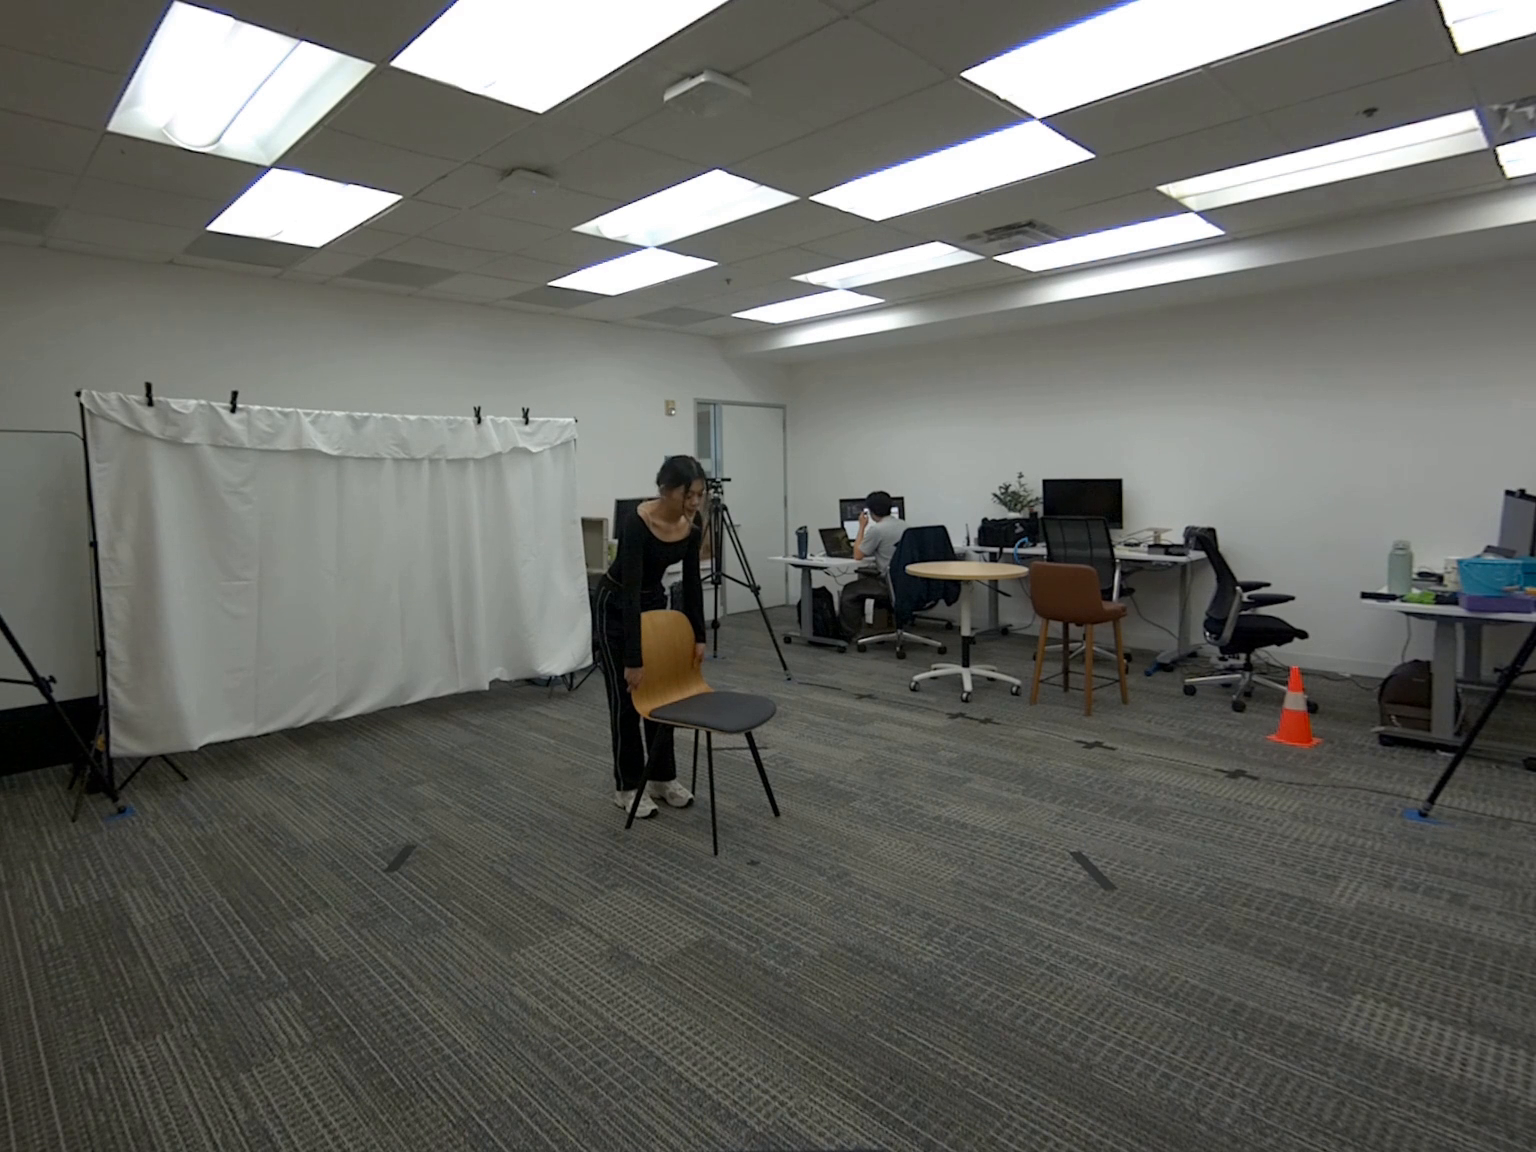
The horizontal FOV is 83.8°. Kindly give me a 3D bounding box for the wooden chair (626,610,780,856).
[{"bbox_3d":[-0.258,0.580,3.436,0.536,0.877,0.466,-4,1,35],"label":"wooden chair"}]
